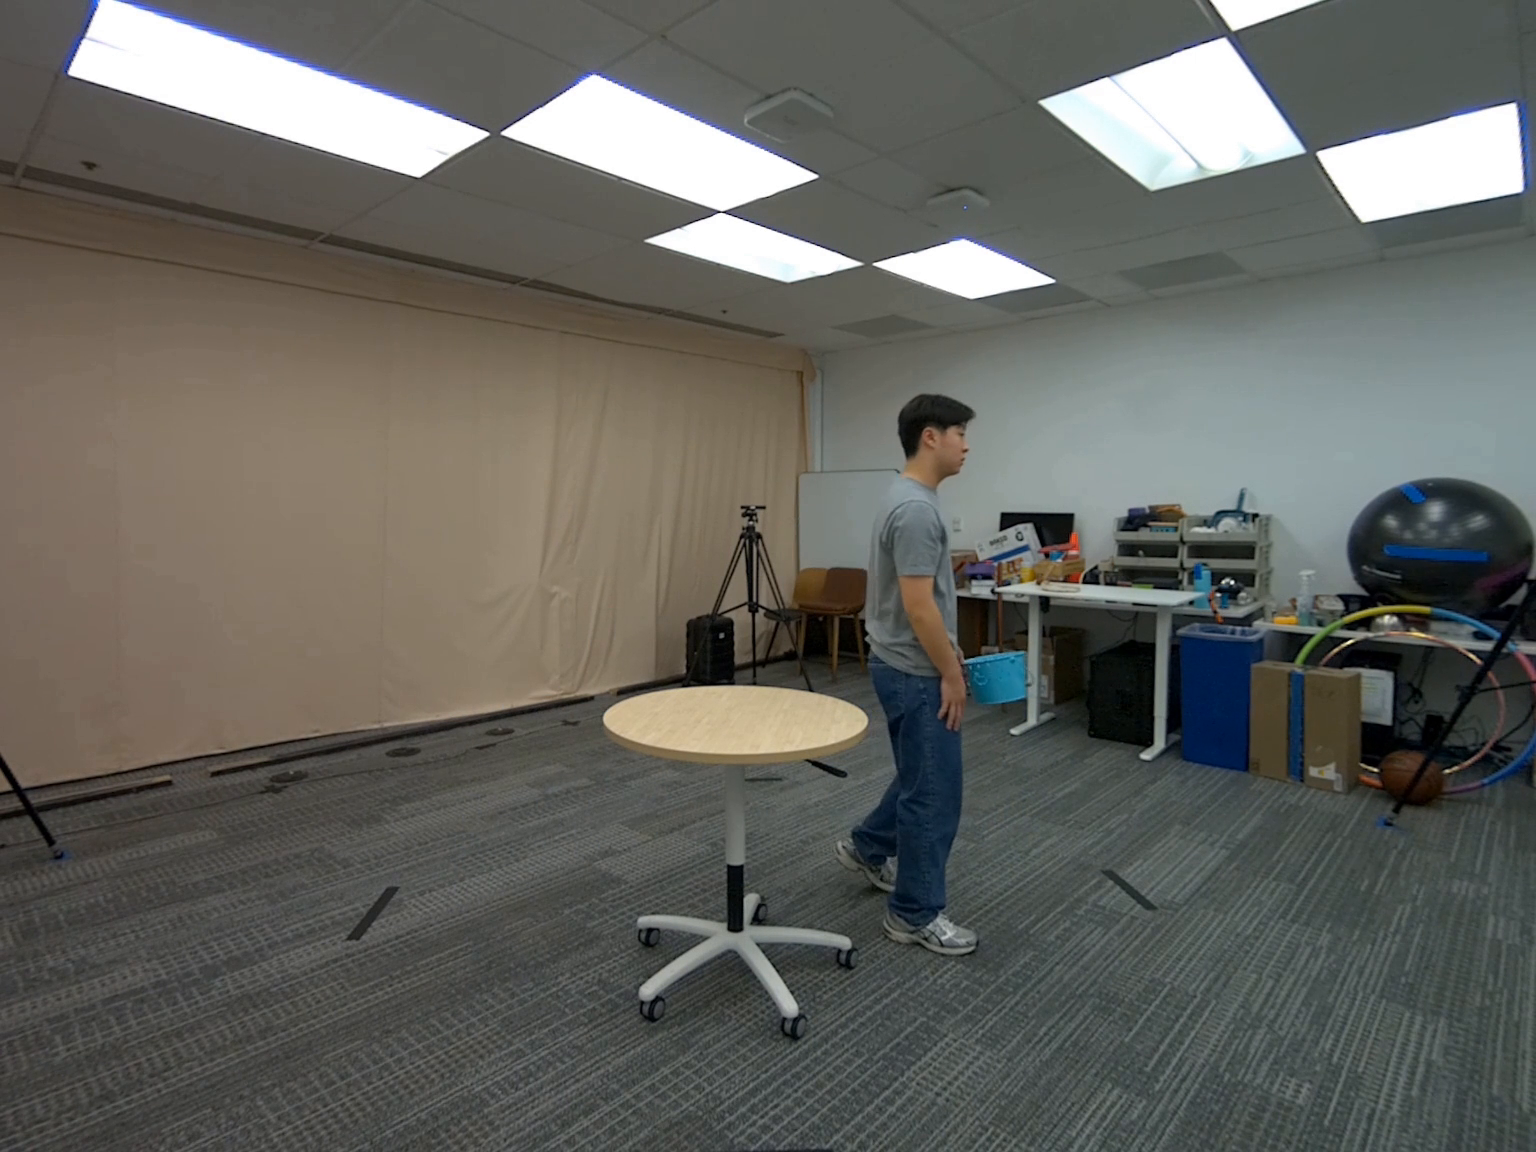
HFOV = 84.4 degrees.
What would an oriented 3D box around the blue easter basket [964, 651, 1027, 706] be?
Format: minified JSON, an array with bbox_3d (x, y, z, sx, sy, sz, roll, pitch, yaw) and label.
[{"bbox_3d":[0.825,0.365,3.010,0.243,0.156,0.243,-10,-2,-2],"label":"blue easter basket"}]
